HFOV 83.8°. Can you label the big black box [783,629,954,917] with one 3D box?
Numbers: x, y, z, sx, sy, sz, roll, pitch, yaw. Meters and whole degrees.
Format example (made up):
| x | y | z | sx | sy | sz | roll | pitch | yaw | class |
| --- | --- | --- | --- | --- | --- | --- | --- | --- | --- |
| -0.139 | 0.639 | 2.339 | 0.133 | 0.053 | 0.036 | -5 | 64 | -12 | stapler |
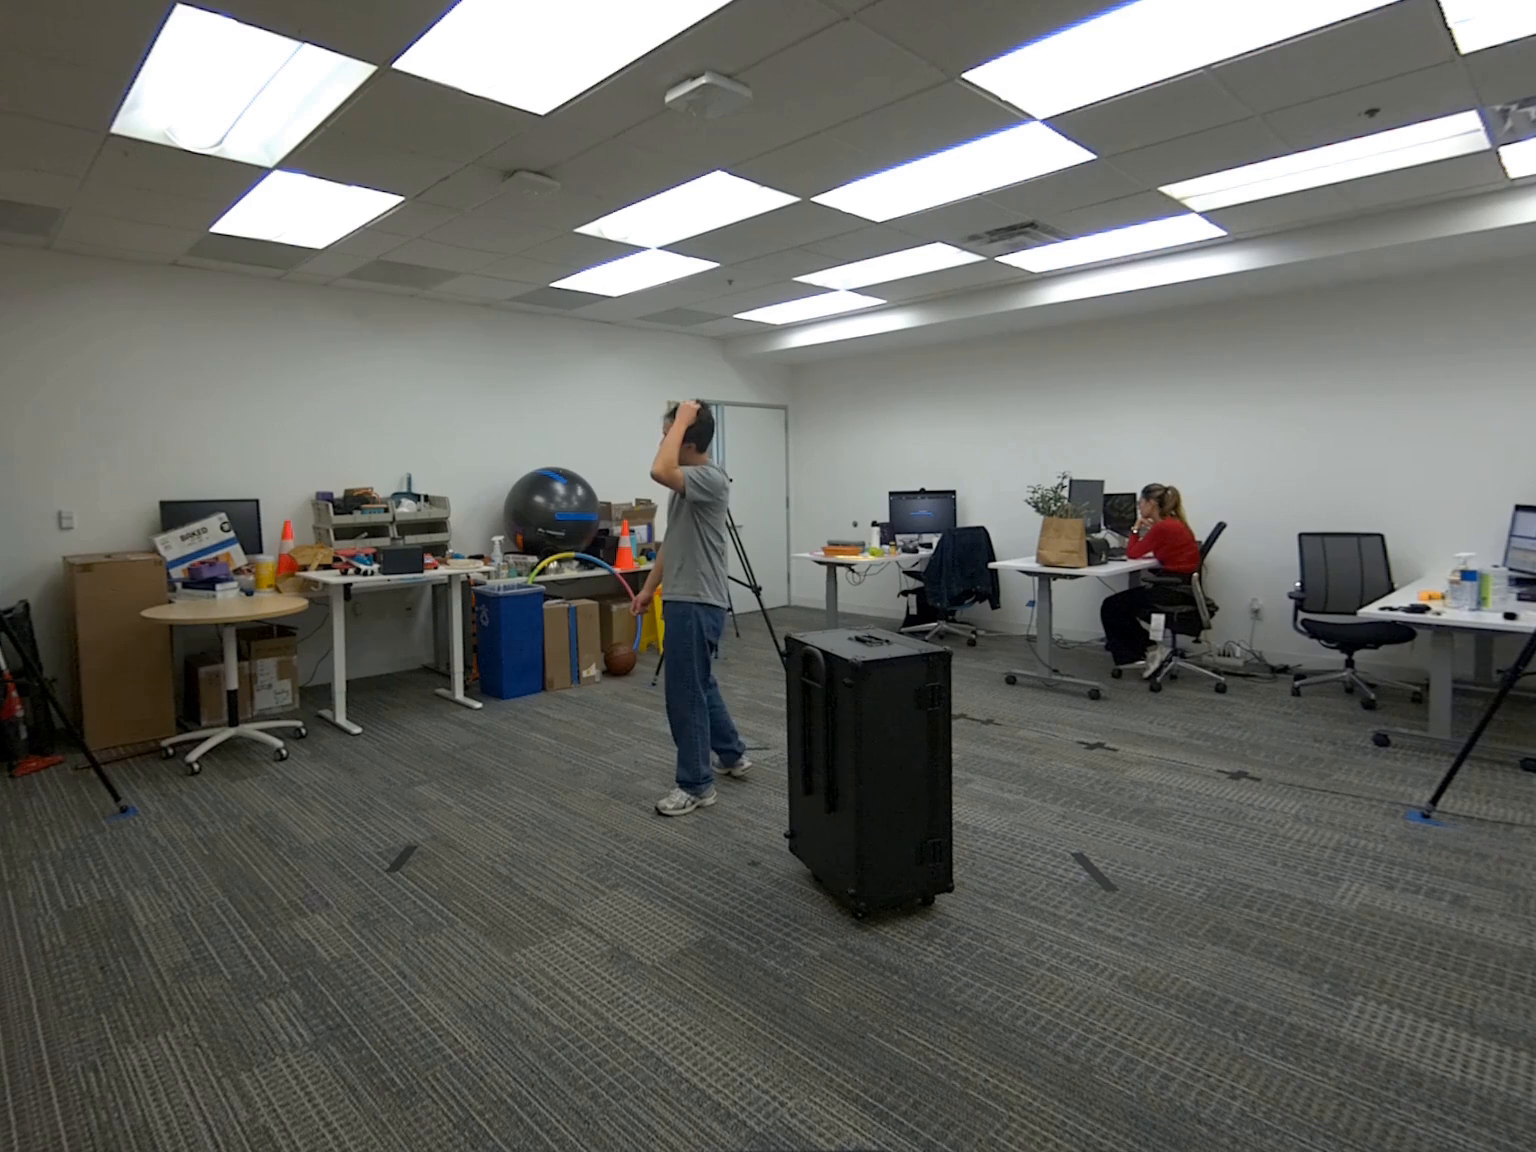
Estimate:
| x | y | z | sx | sy | sz | roll | pitch | yaw | class |
| --- | --- | --- | --- | --- | --- | --- | --- | --- | --- |
| 0.323 | 0.641 | 2.851 | 0.389 | 0.858 | 0.533 | -4 | 5 | -23 | big black box |
